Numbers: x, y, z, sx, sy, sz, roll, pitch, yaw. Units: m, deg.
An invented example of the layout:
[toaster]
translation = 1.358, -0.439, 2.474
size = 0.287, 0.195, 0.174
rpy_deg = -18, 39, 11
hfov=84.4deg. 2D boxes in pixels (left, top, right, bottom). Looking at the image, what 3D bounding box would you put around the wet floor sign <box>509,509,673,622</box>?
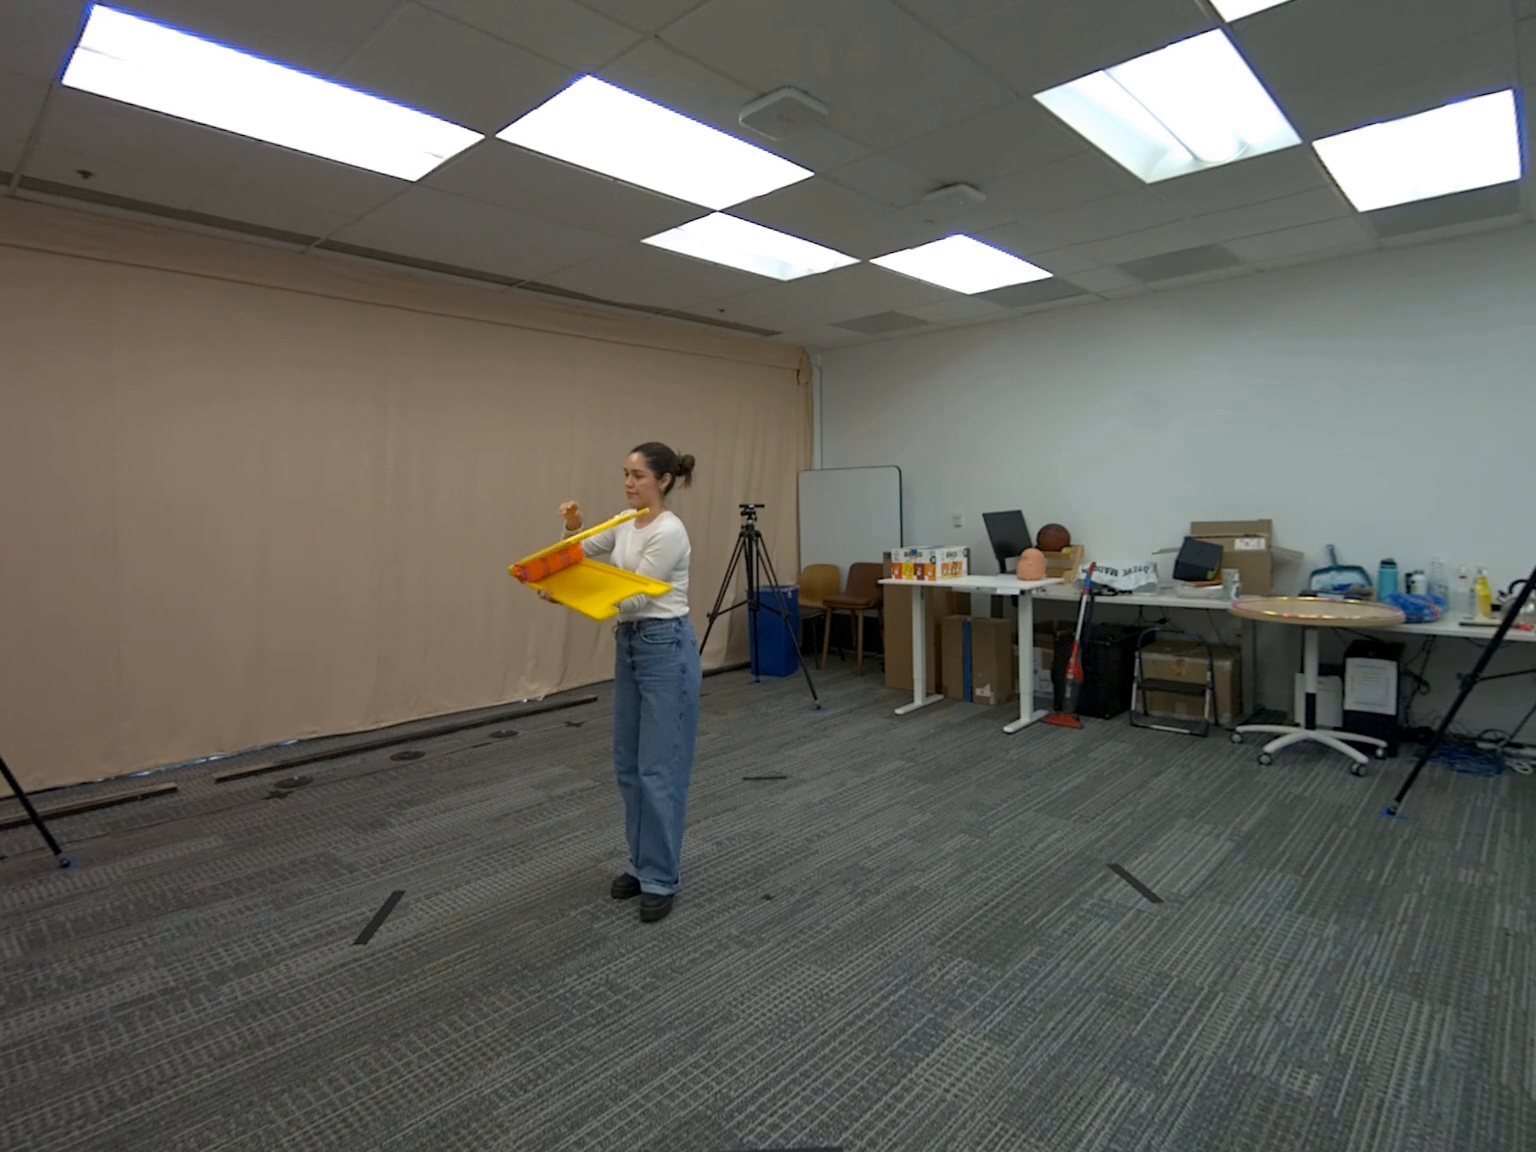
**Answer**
[wet floor sign]
translation = -0.626, -0.046, 2.711
size = 0.276, 0.286, 0.667
rpy_deg = -25, 18, -36
